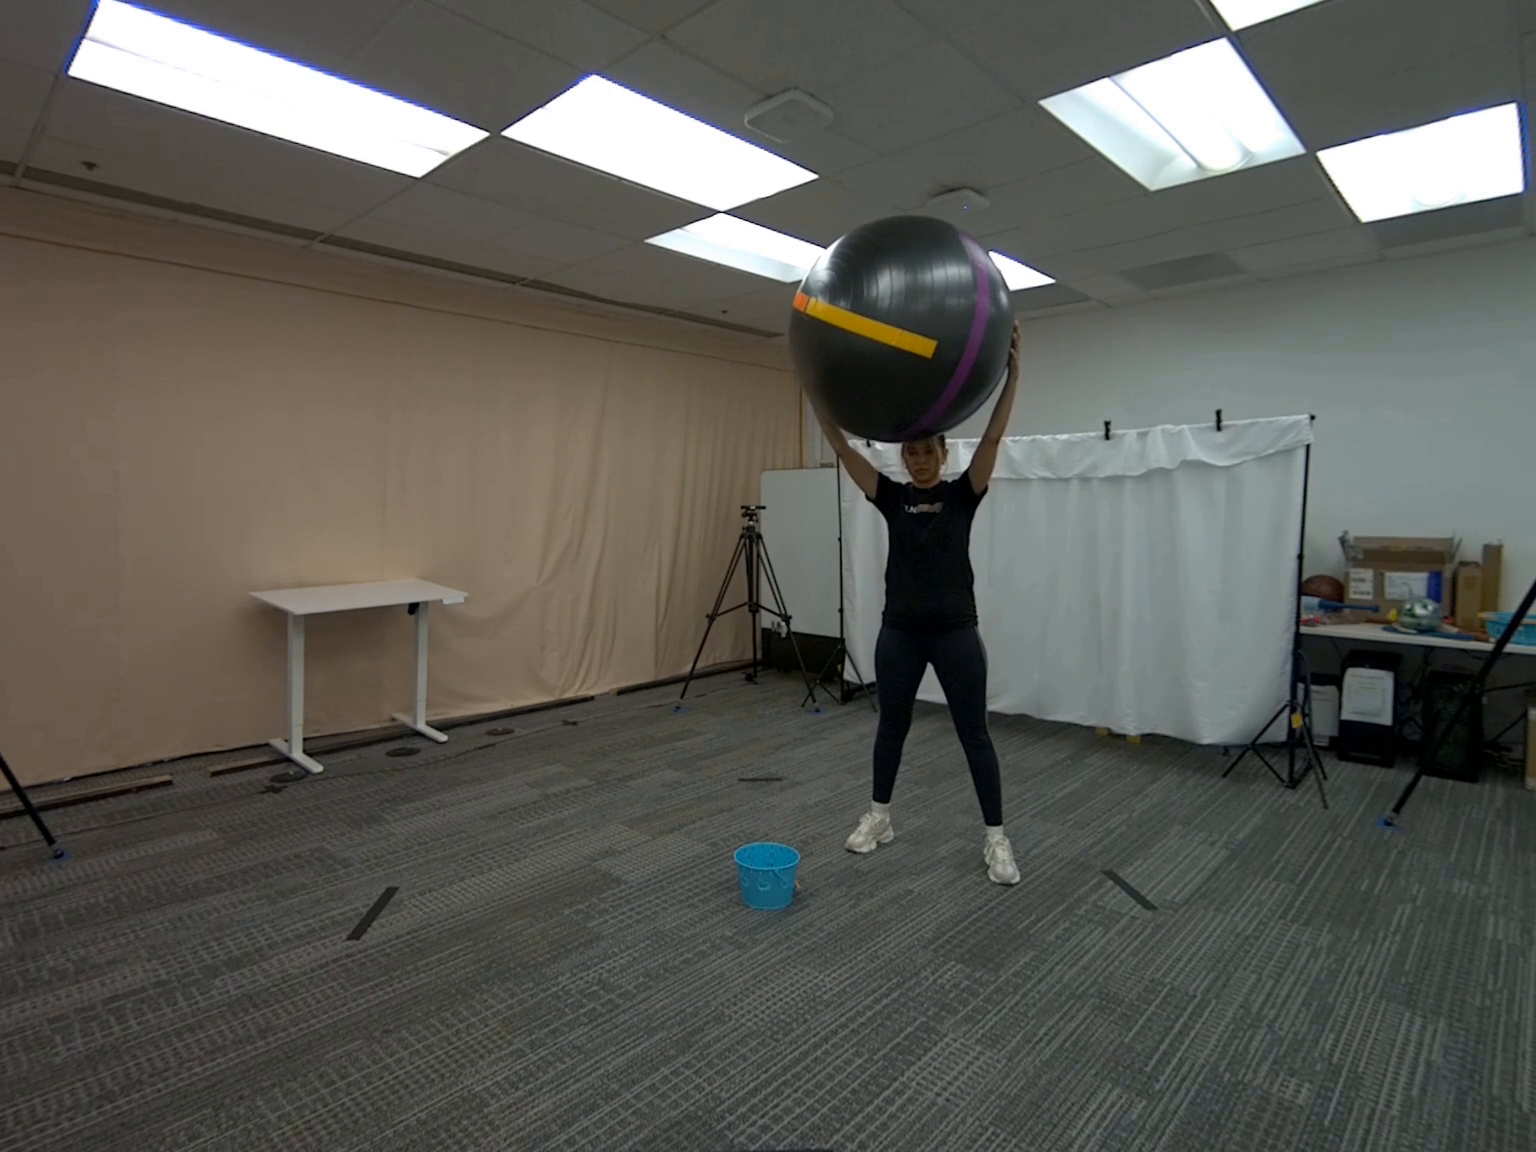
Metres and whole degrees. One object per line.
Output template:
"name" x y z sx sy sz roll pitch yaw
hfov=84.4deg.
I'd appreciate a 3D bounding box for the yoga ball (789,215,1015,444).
"yoga ball" 0.452 -0.823 2.898 0.757 0.756 0.760 0 4 -2
